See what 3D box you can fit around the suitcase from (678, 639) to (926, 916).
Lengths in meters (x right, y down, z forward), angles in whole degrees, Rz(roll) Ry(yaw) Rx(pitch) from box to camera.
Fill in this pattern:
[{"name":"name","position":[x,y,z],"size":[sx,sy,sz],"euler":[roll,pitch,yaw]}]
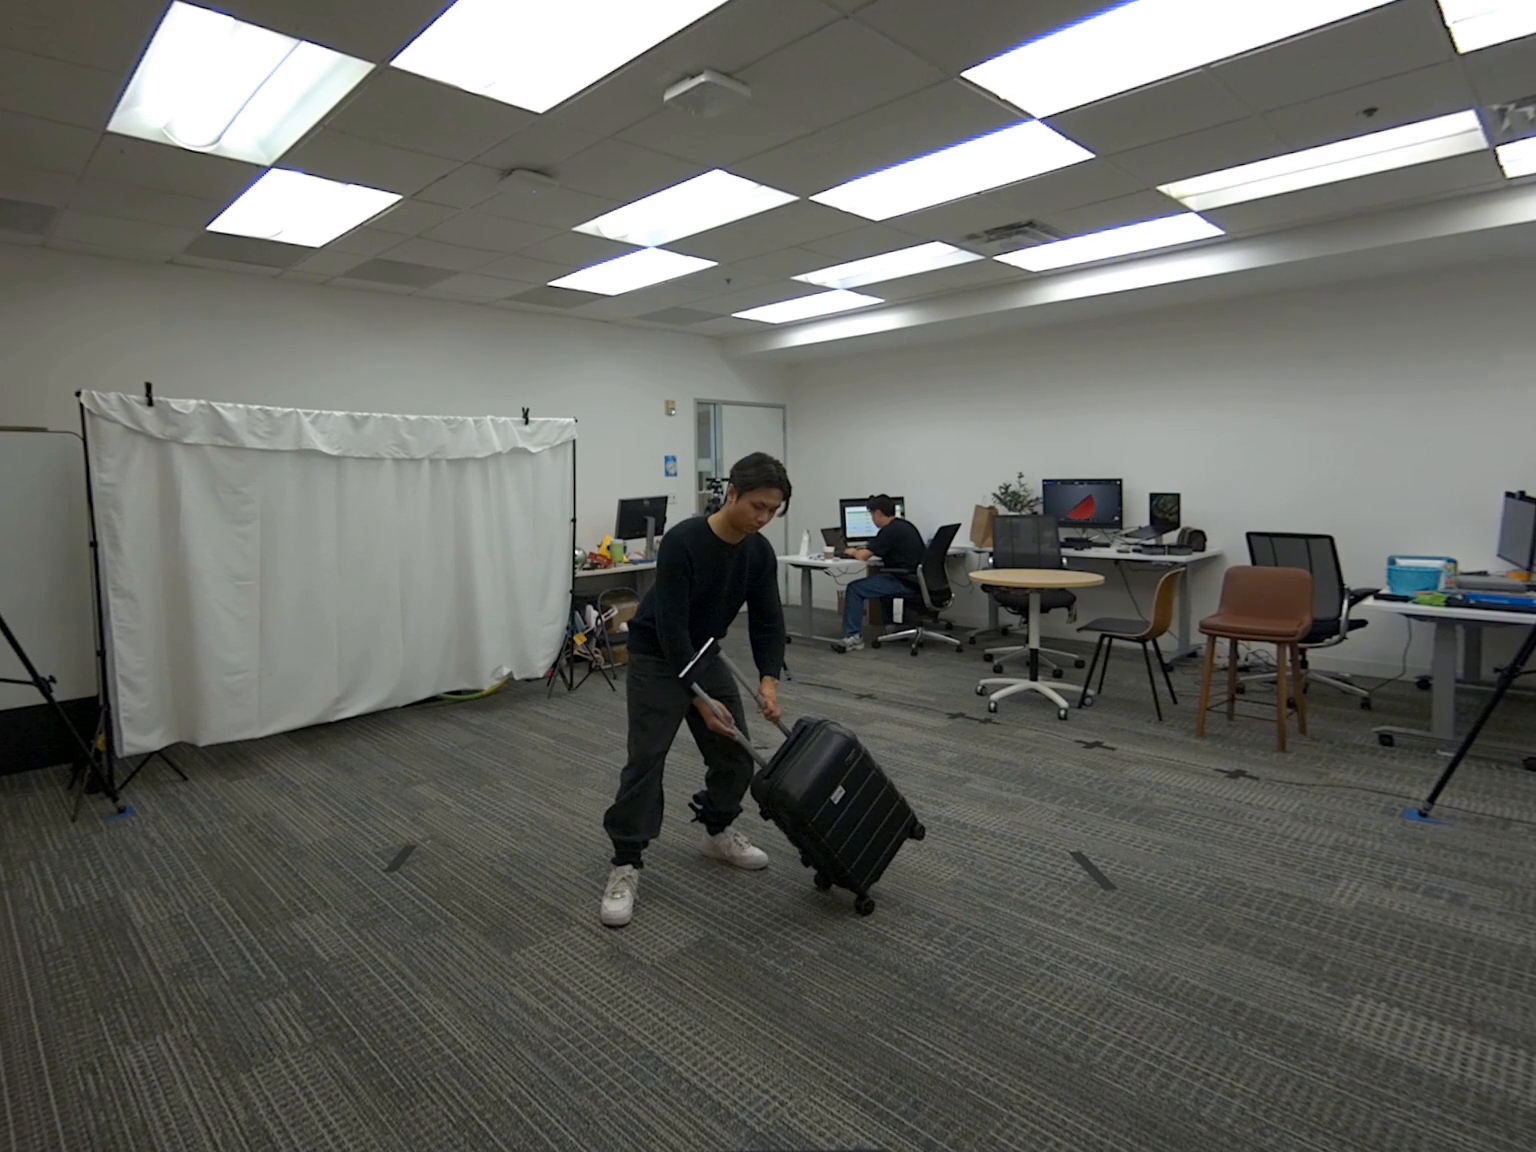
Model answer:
[{"name":"suitcase","position":[0.119,0.600,2.693],"size":[0.384,0.950,0.265],"euler":[-46,28,-23]}]
